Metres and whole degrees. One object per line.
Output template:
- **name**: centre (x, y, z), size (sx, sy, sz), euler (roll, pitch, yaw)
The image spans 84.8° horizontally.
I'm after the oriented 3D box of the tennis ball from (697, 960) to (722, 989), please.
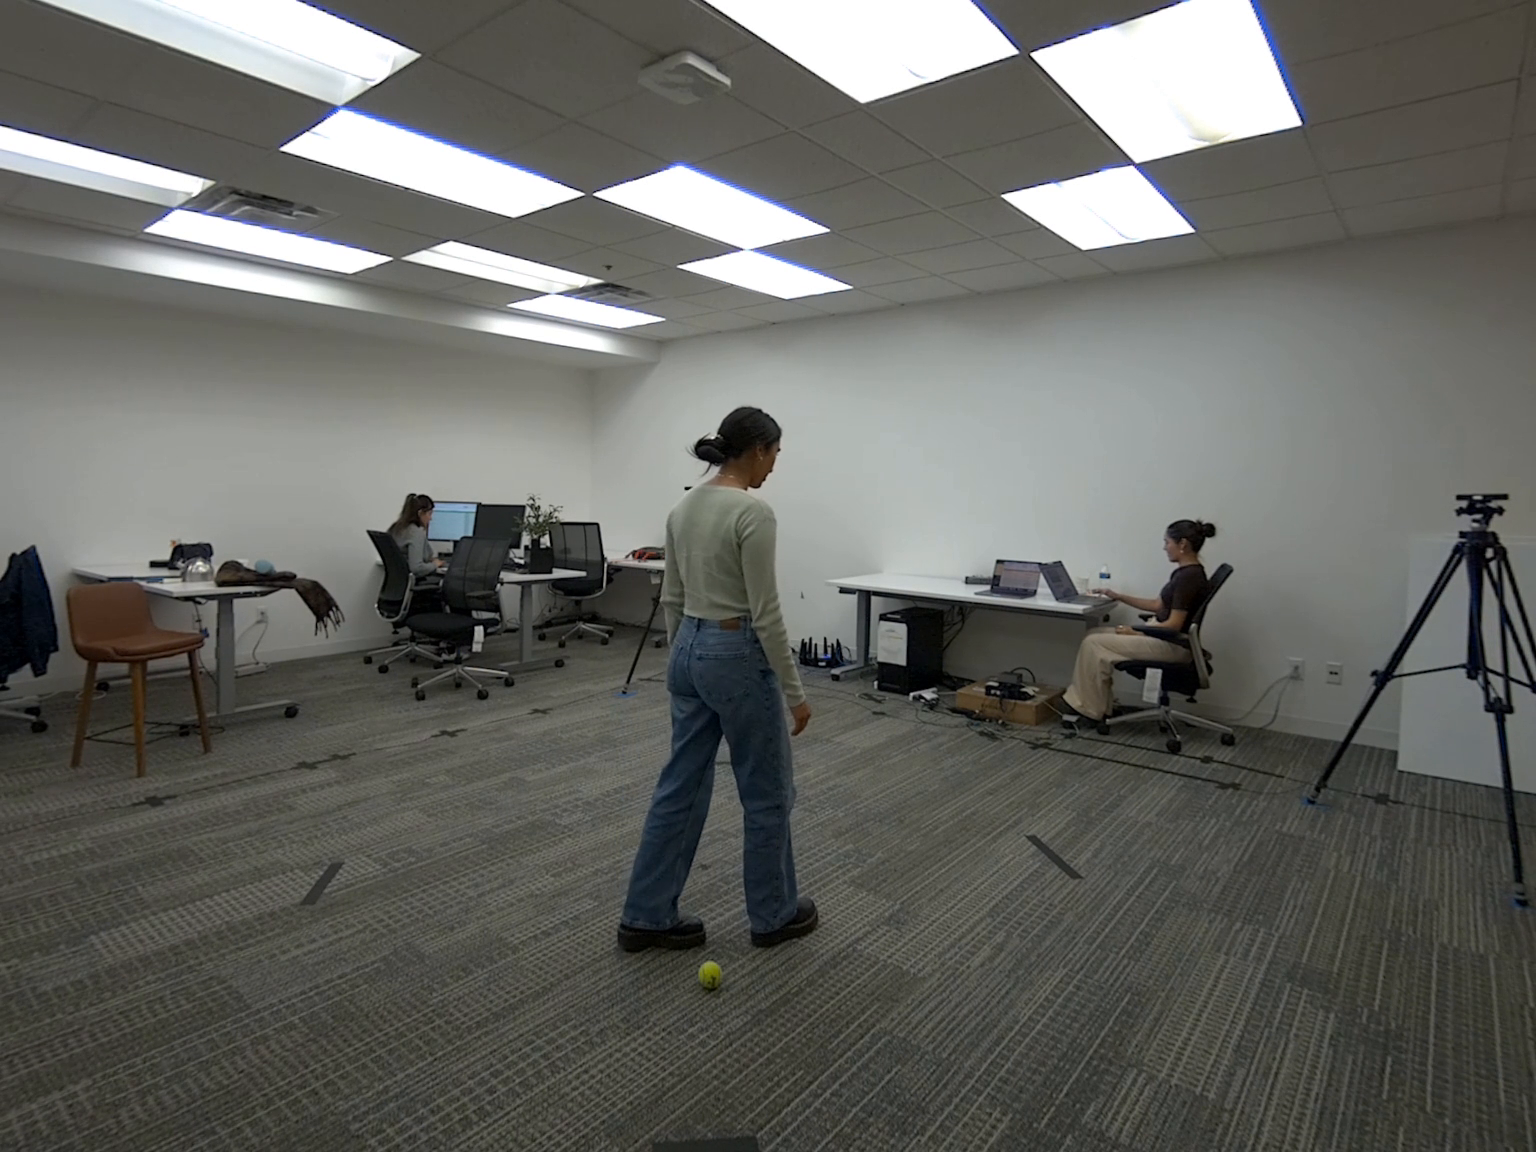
- **tennis ball**: centre (-0.165, 1.088, 2.369), size (0.066, 0.066, 0.067), euler (1, 4, -2)
